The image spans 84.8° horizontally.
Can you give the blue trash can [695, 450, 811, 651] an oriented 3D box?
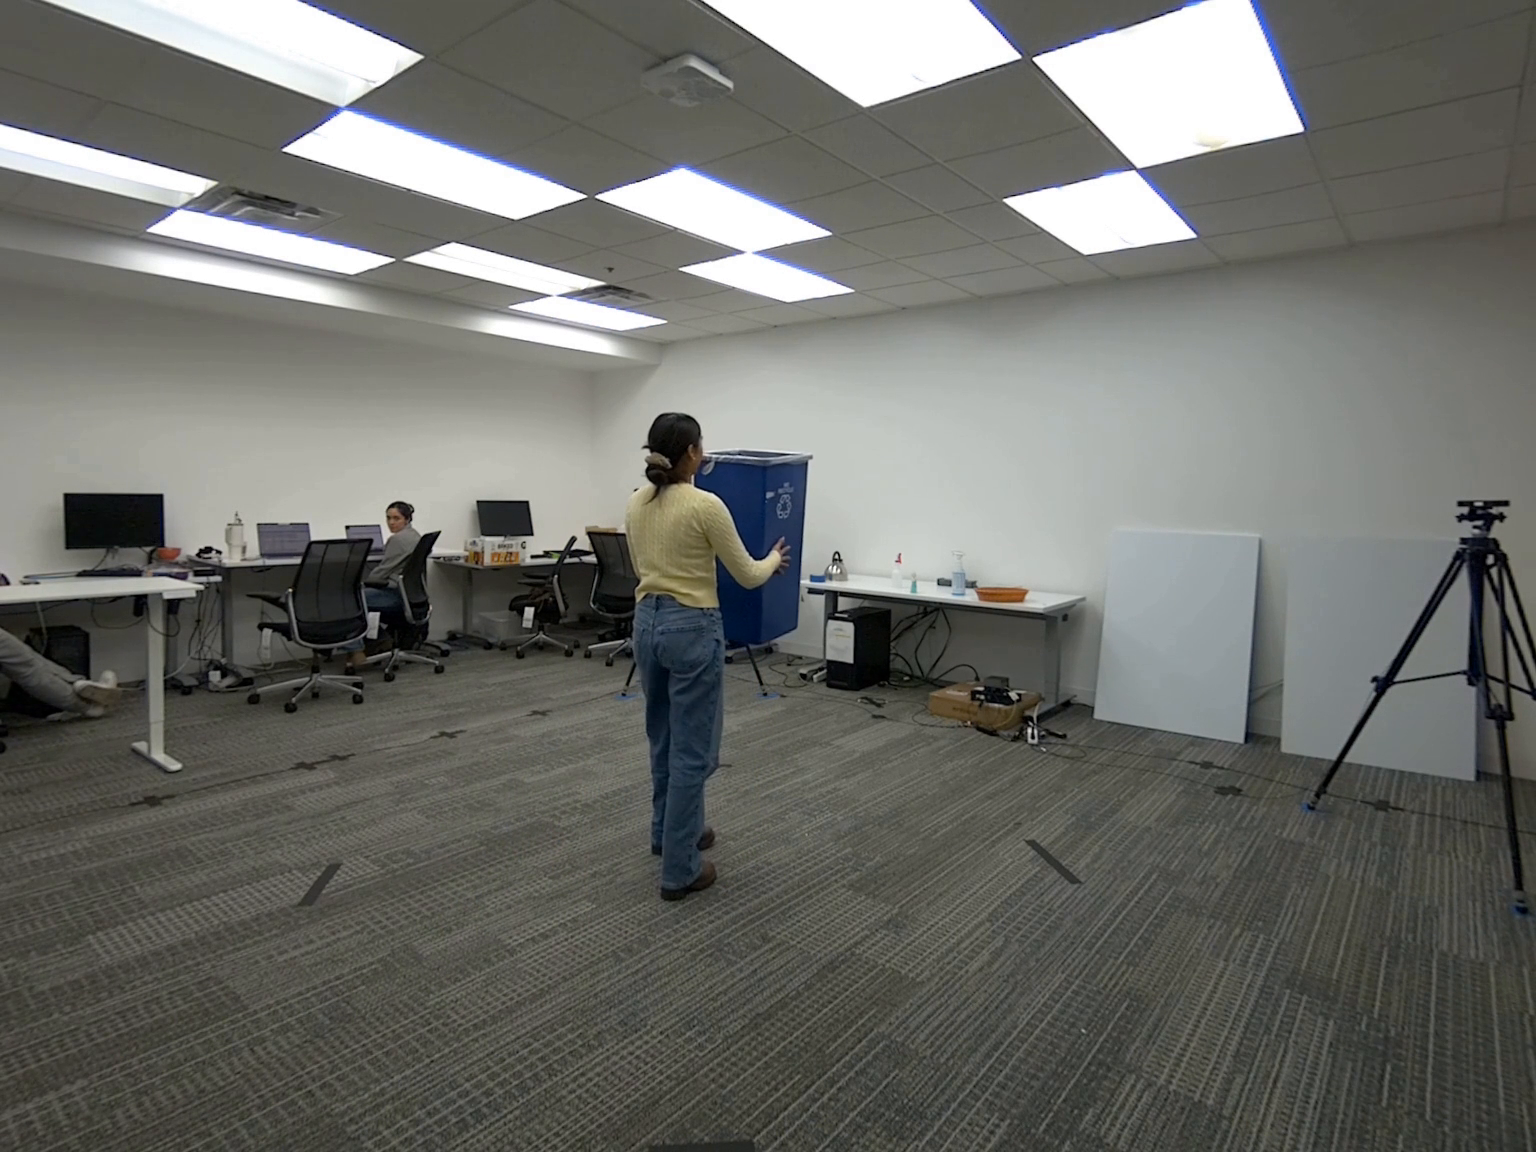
[{"bbox_3d":[-0.081,-0.136,3.369,0.391,0.706,0.365,8,13,33],"label":"blue trash can"}]
